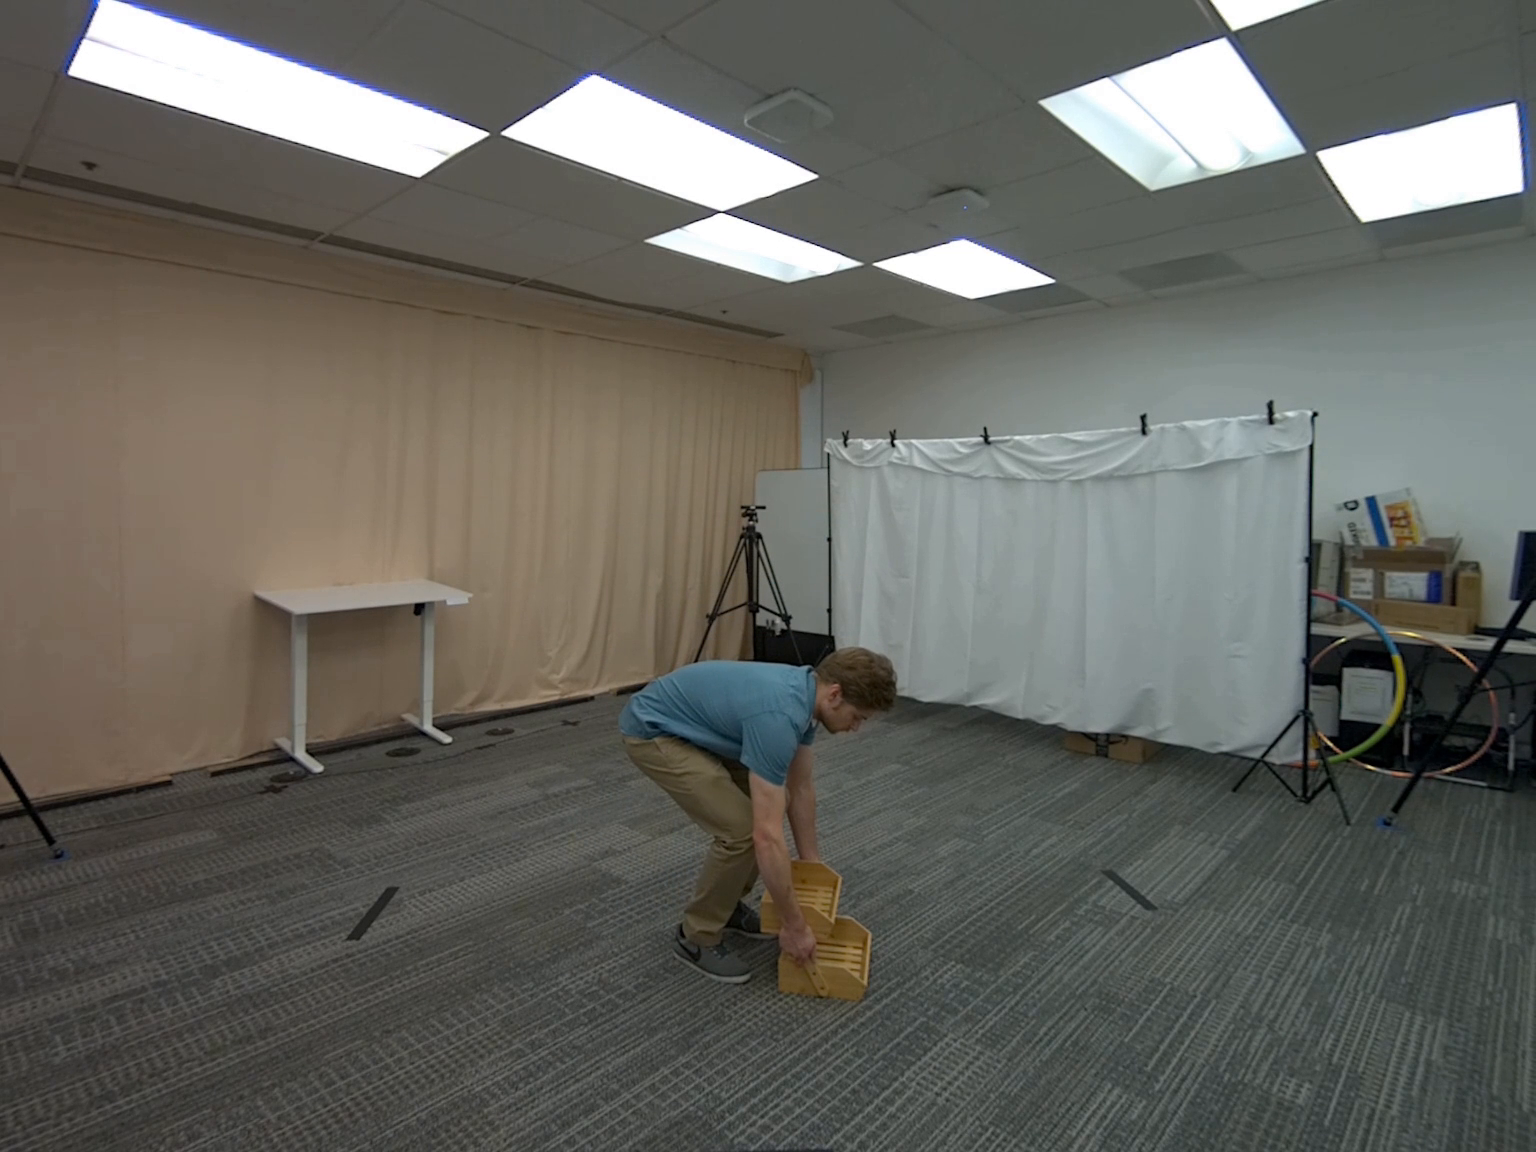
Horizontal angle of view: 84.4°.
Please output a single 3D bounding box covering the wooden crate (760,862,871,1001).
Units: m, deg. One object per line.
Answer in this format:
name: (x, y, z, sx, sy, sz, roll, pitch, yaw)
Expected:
wooden crate: (0.159, 1.055, 2.525, 0.306, 0.273, 0.321, 1, 4, 11)
